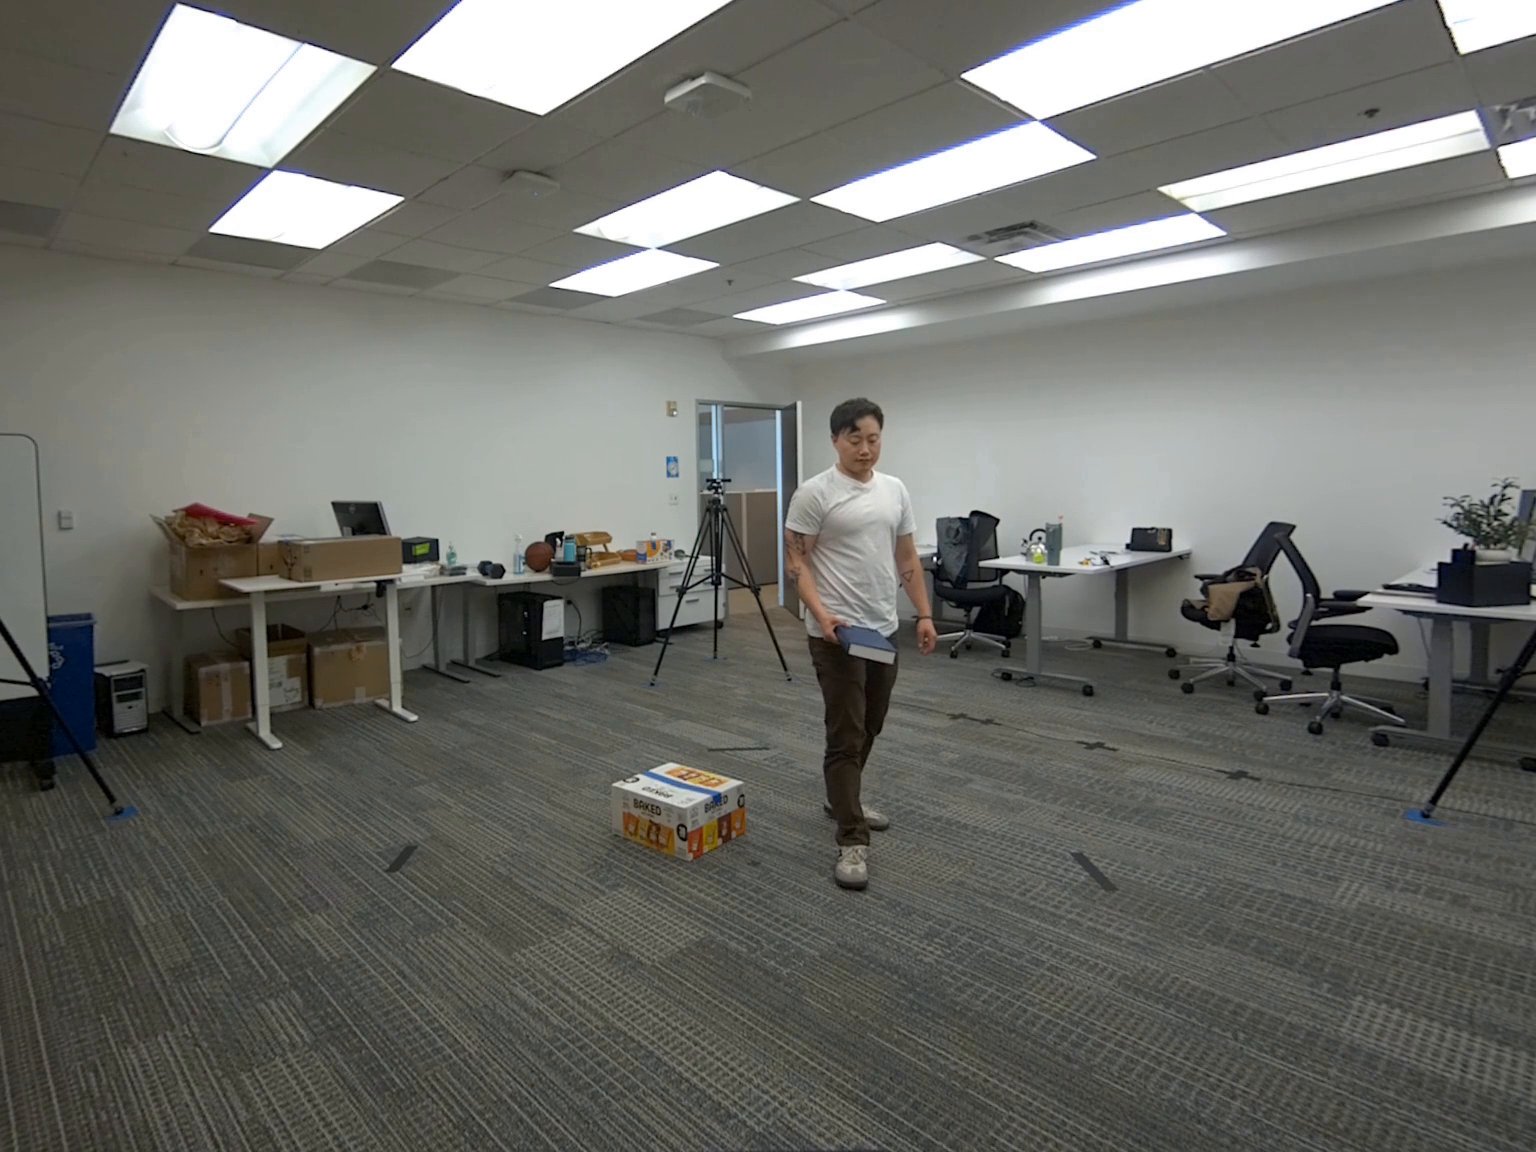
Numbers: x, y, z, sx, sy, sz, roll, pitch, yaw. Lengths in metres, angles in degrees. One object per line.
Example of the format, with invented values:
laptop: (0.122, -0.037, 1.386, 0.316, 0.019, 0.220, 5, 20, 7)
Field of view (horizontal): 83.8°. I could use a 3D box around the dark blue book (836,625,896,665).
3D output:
dark blue book: (0.323, 0.223, 2.880, 0.163, 0.045, 0.247, 11, 10, -4)
